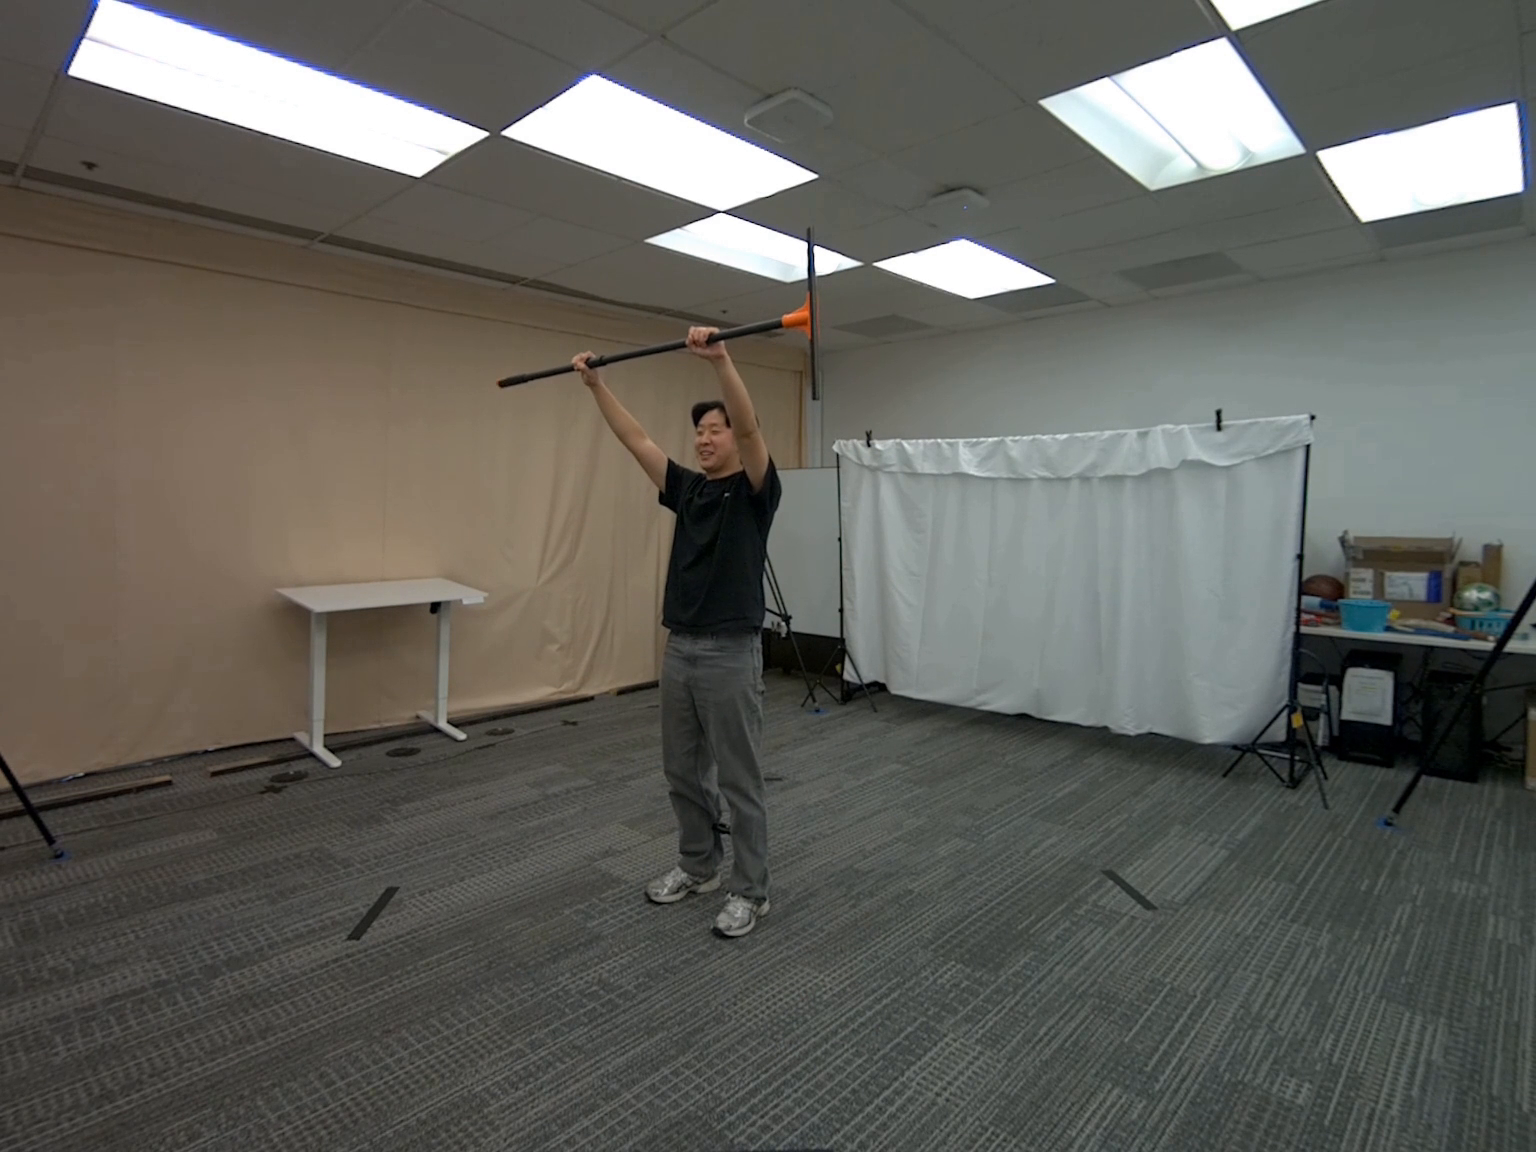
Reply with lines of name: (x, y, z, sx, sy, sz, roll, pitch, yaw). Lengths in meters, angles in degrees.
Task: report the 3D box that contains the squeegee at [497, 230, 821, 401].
squeegee: (-0.447, -0.698, 2.672, 1.588, 0.436, 0.051, 3, 5, 43)
